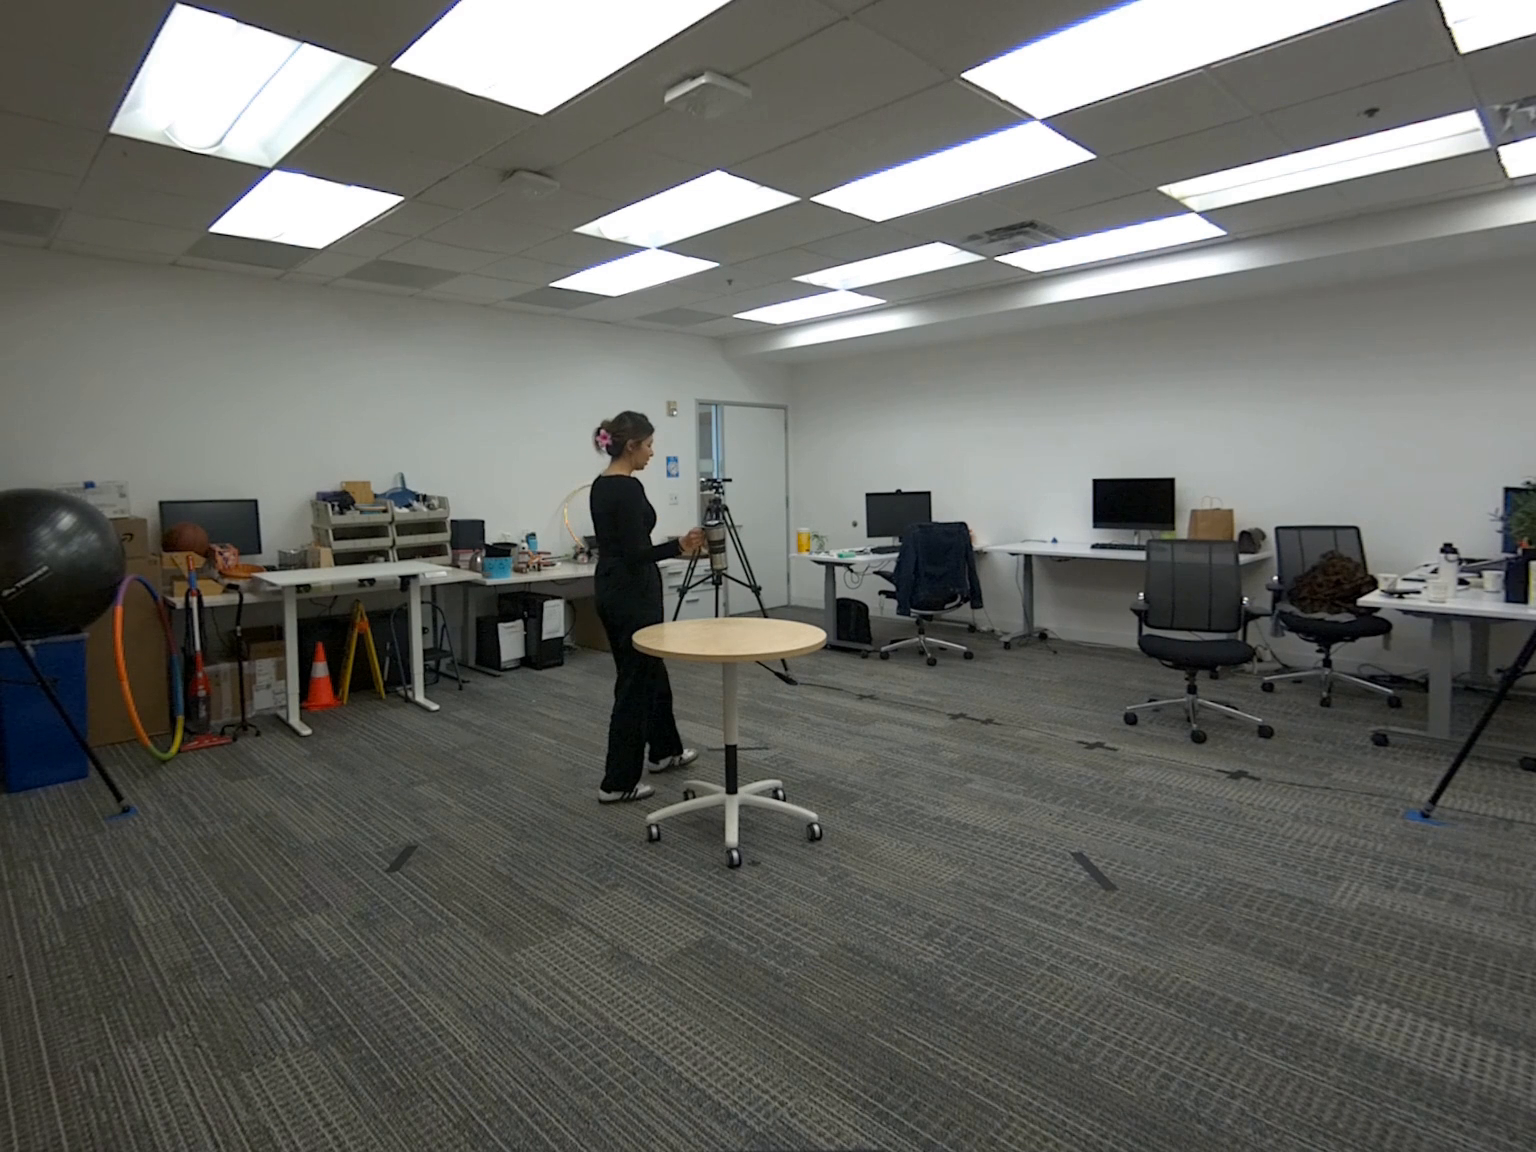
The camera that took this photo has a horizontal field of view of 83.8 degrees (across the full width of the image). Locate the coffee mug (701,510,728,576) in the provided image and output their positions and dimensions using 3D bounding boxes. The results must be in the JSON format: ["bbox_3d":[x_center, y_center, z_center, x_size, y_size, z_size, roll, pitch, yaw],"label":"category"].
[{"bbox_3d":[-0.223,-0.122,3.485,0.126,0.200,0.086,3,17,45],"label":"coffee mug"}]
